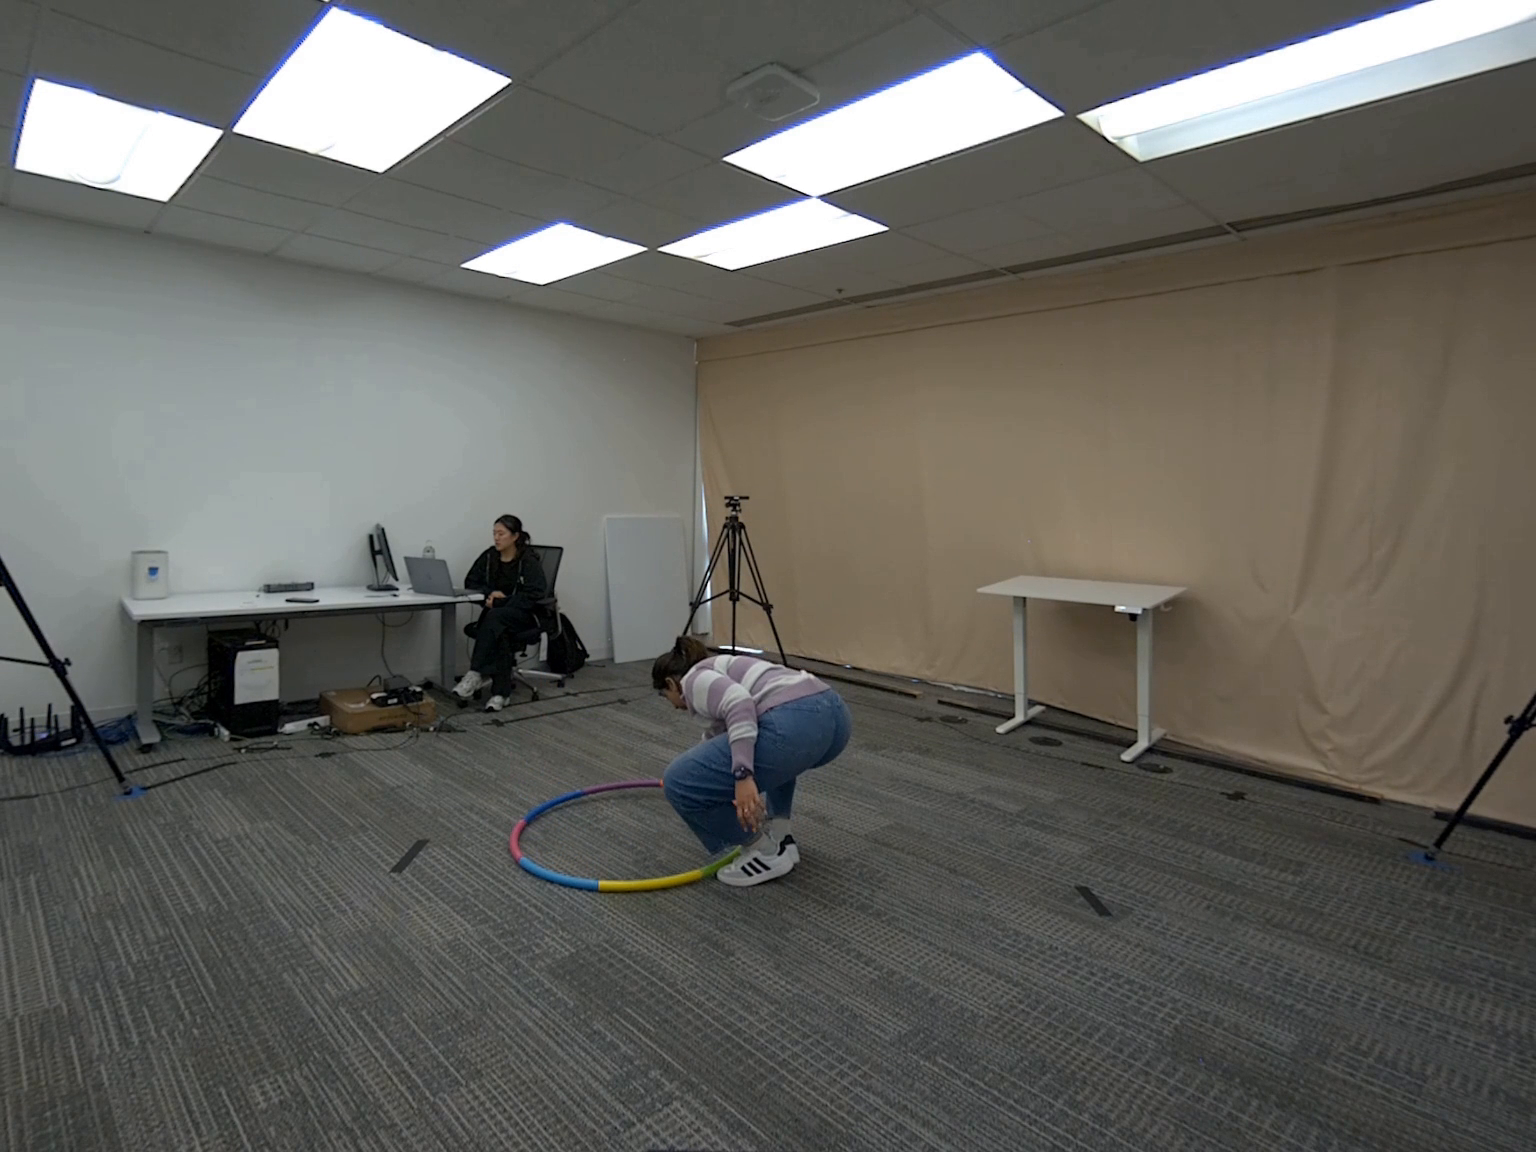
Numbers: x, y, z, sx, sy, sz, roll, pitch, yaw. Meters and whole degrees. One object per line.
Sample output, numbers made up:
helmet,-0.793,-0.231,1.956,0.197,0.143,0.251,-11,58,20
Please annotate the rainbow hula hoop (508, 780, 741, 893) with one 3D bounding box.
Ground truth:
rainbow hula hoop,-0.543,1.012,3.422,0.985,0.051,0.990,0,7,-1
